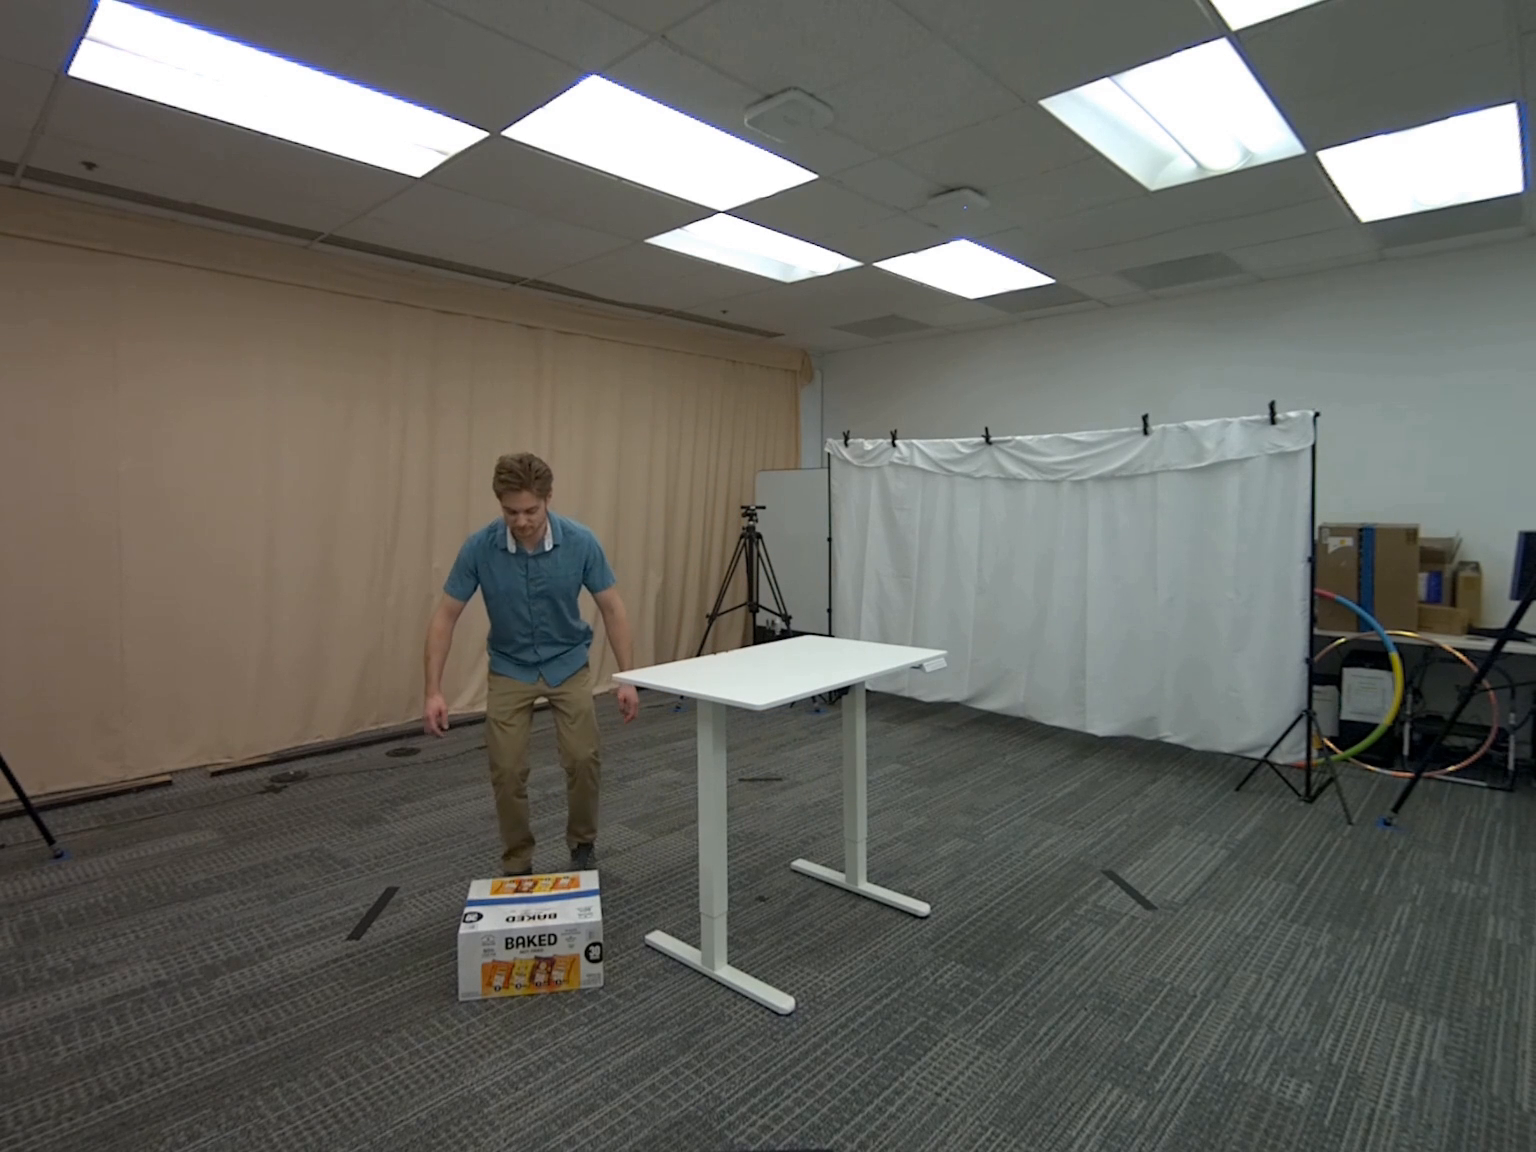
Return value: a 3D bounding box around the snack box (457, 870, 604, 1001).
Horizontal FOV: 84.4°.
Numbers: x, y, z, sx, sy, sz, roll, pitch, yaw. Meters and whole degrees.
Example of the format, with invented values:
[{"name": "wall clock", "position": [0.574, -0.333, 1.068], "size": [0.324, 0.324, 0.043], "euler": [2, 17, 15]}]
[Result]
[{"name": "snack box", "position": [-0.711, 1.085, 2.557], "size": [0.400, 0.205, 0.345], "euler": [-1, 4, -12]}]
